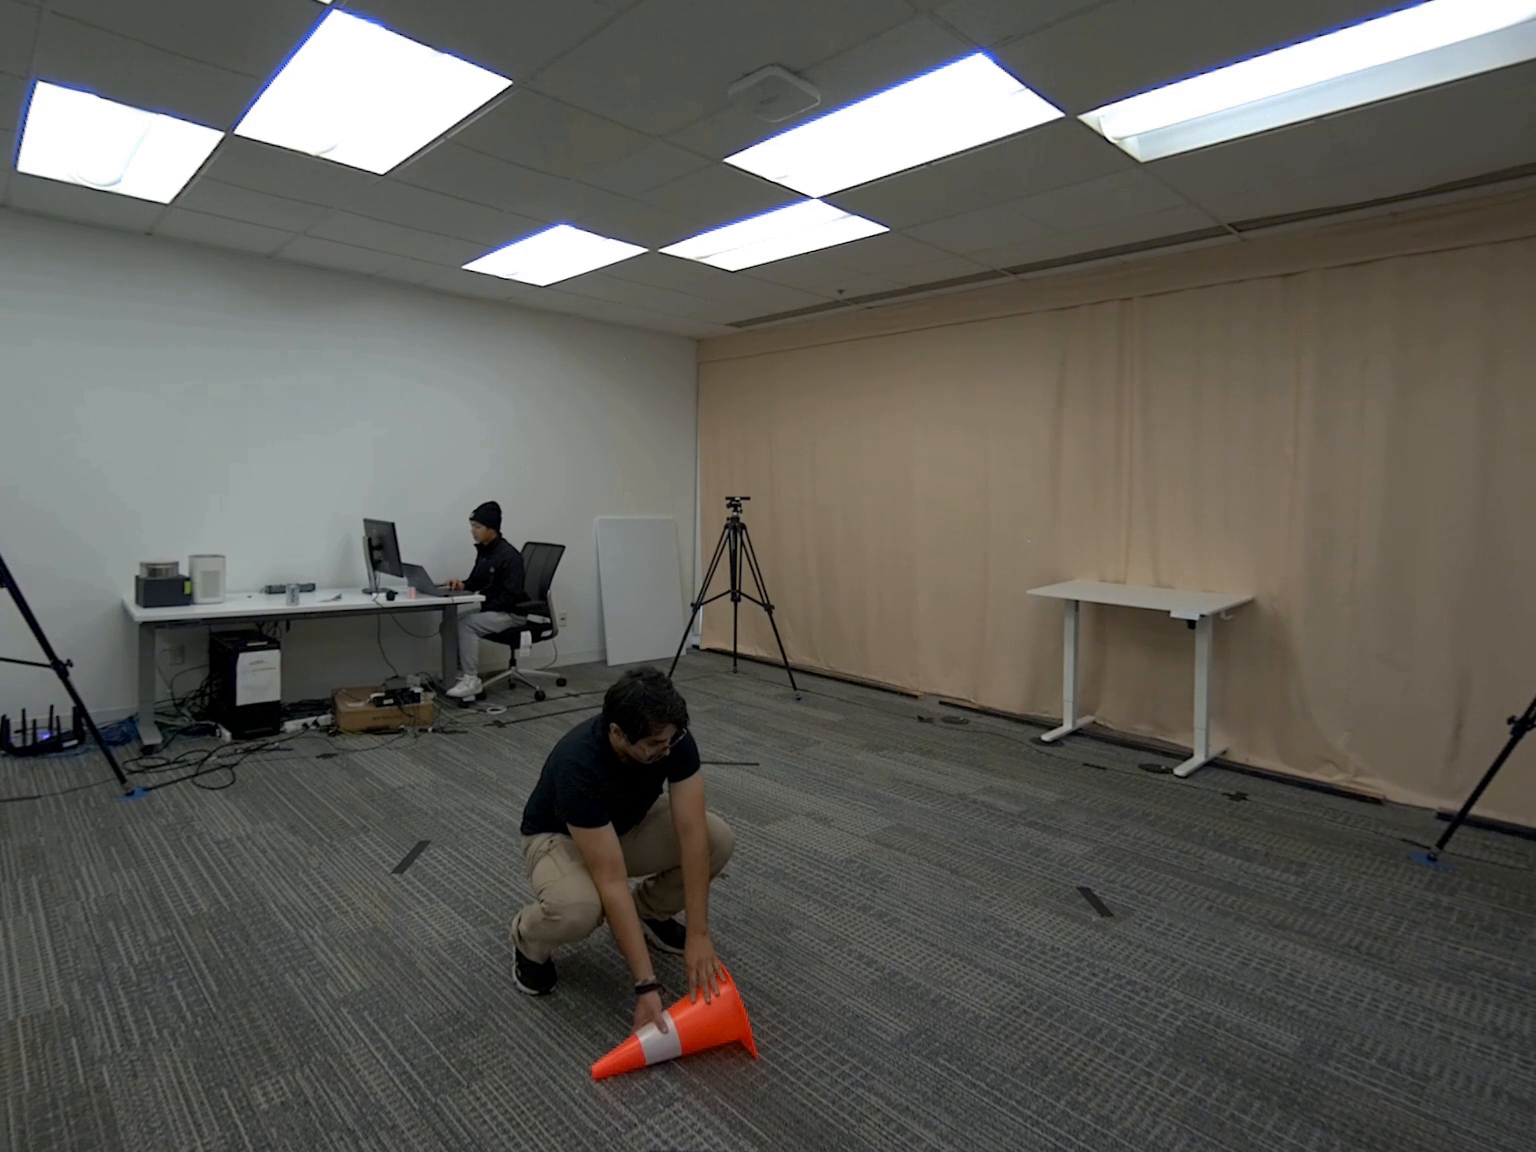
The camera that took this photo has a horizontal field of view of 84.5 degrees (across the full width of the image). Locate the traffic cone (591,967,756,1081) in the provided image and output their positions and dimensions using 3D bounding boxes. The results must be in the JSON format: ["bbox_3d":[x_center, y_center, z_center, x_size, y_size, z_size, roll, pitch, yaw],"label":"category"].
[{"bbox_3d":[-0.259,1.155,2.081,0.379,0.201,0.210,-18,14,-24],"label":"traffic cone"}]
